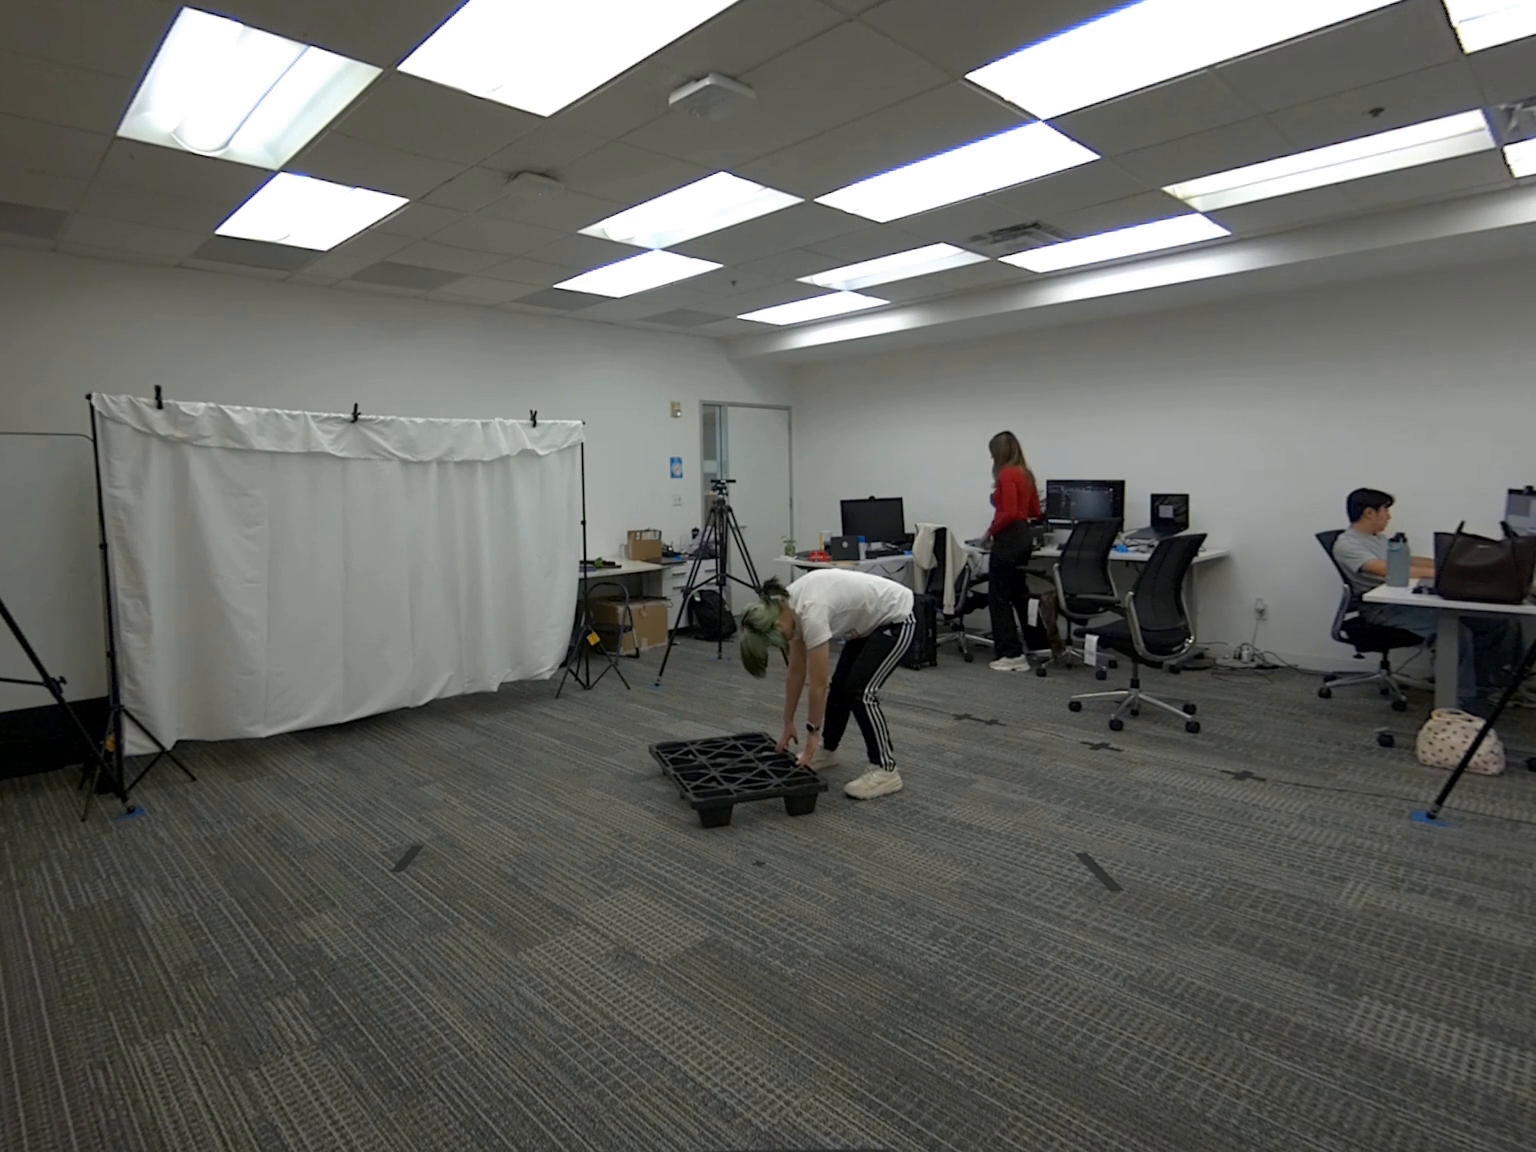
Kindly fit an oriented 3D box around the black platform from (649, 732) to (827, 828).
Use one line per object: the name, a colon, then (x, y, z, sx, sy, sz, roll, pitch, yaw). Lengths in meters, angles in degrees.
black platform: (-0.160, 0.899, 3.842, 0.595, 0.143, 0.823, -3, 6, -20)
